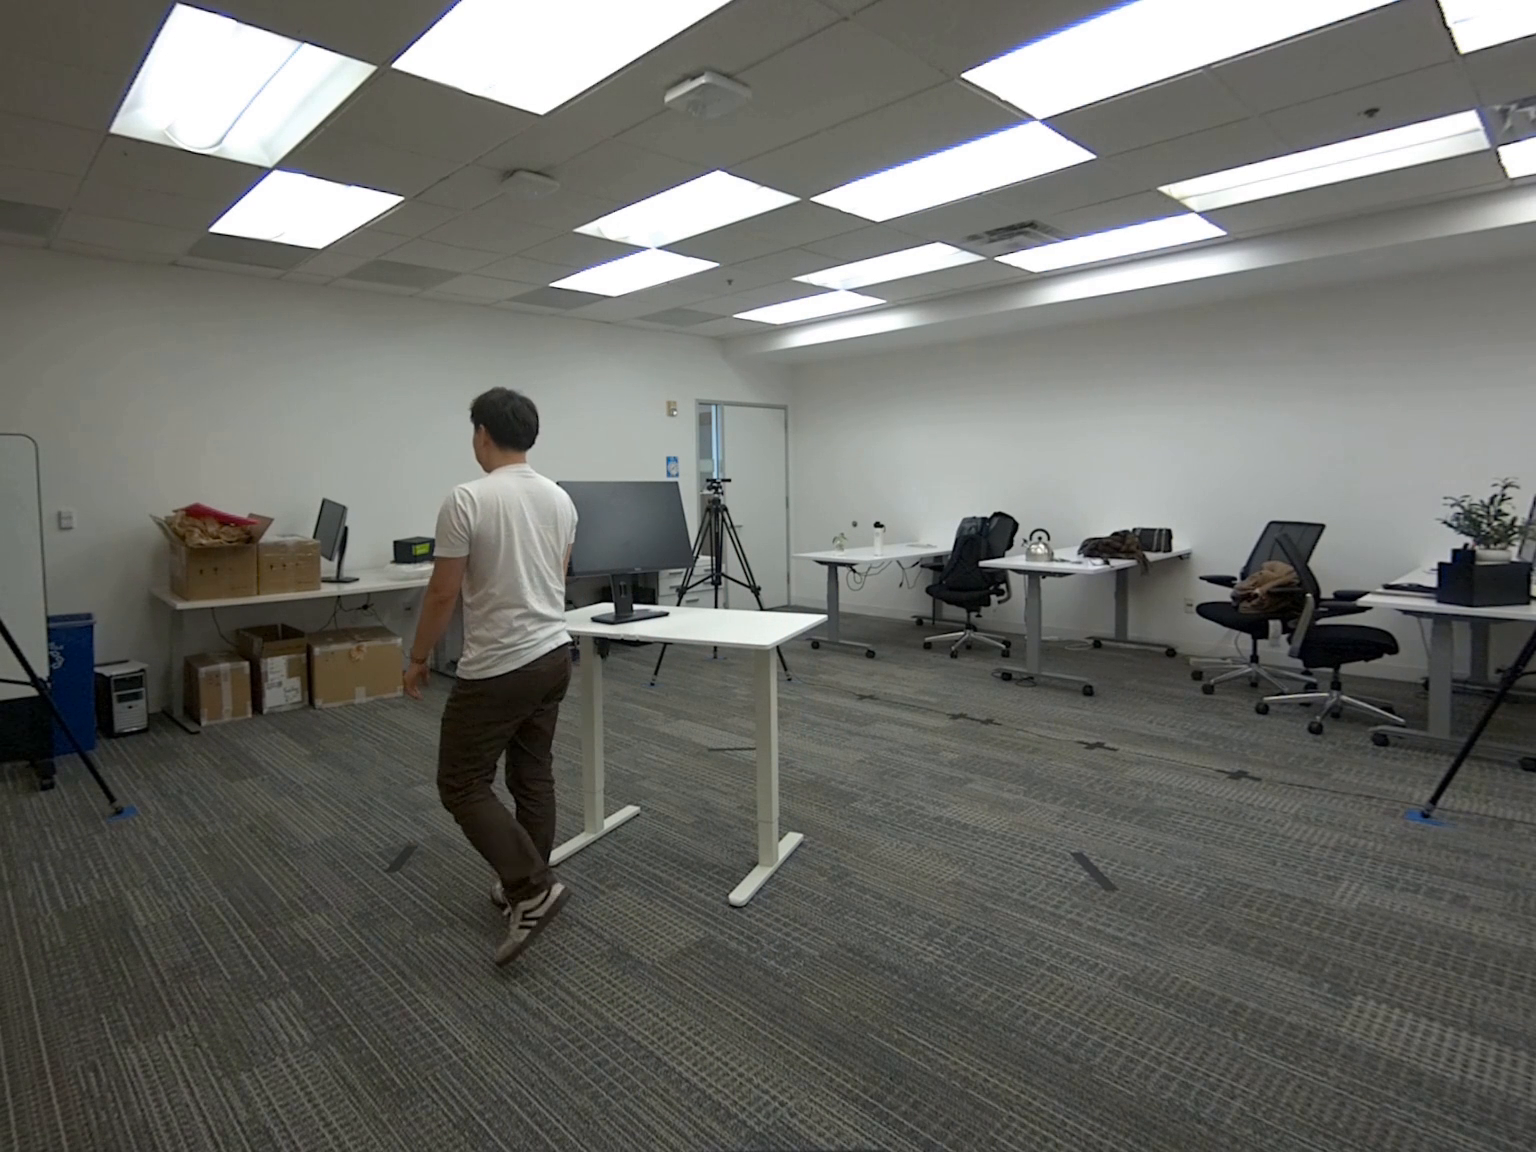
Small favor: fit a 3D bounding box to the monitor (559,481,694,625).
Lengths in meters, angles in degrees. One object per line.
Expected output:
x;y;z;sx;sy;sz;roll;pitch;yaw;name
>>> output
-0.542;-0.094;3.215;0.524;0.523;0.192;-4;1;-42;monitor
